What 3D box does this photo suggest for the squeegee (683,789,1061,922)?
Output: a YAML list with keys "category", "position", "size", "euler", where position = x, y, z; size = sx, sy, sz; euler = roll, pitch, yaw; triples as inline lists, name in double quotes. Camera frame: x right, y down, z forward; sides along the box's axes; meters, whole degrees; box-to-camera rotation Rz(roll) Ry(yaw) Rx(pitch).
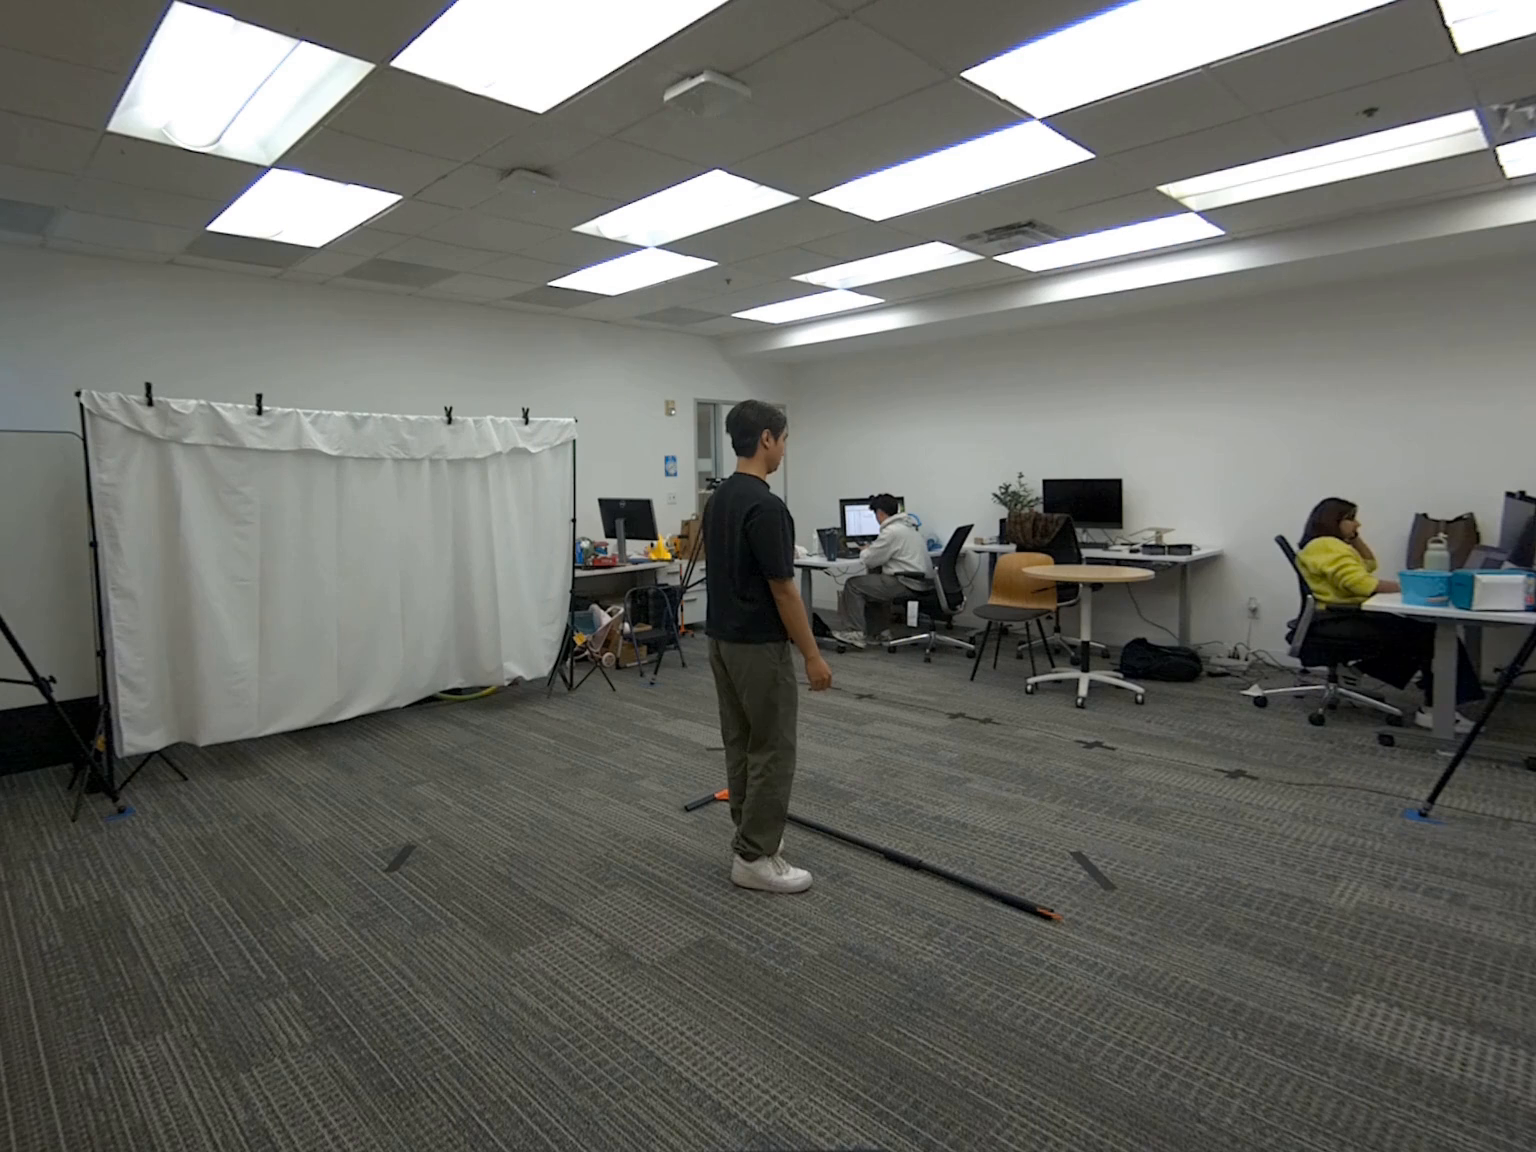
- category: "squeegee"
  position: [0.336, 0.984, 3.205]
  size: [1.586, 0.052, 0.427]
  euler: [6, 12, 45]
